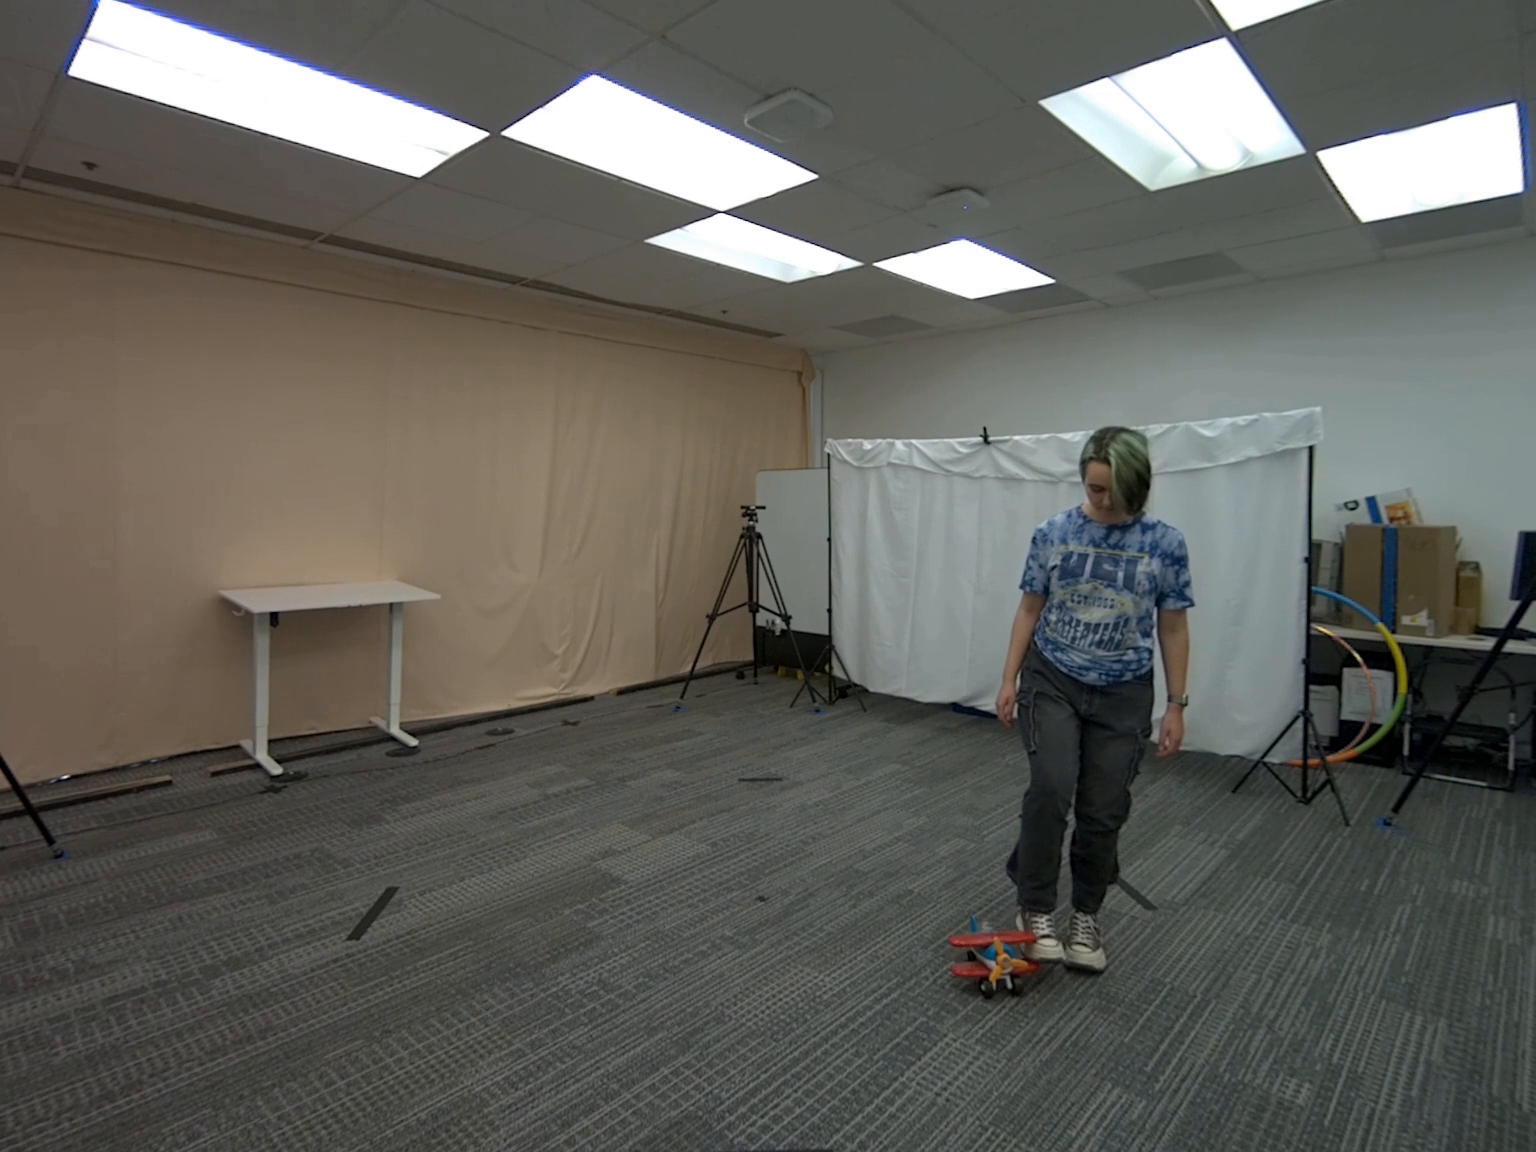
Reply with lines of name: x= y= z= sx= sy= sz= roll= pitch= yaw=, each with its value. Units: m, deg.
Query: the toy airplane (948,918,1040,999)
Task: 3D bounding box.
toy airplane: x=0.636 y=1.113 z=2.470 sx=0.244 sy=0.156 sz=0.267 roll=-4 pitch=6 yaw=-34
